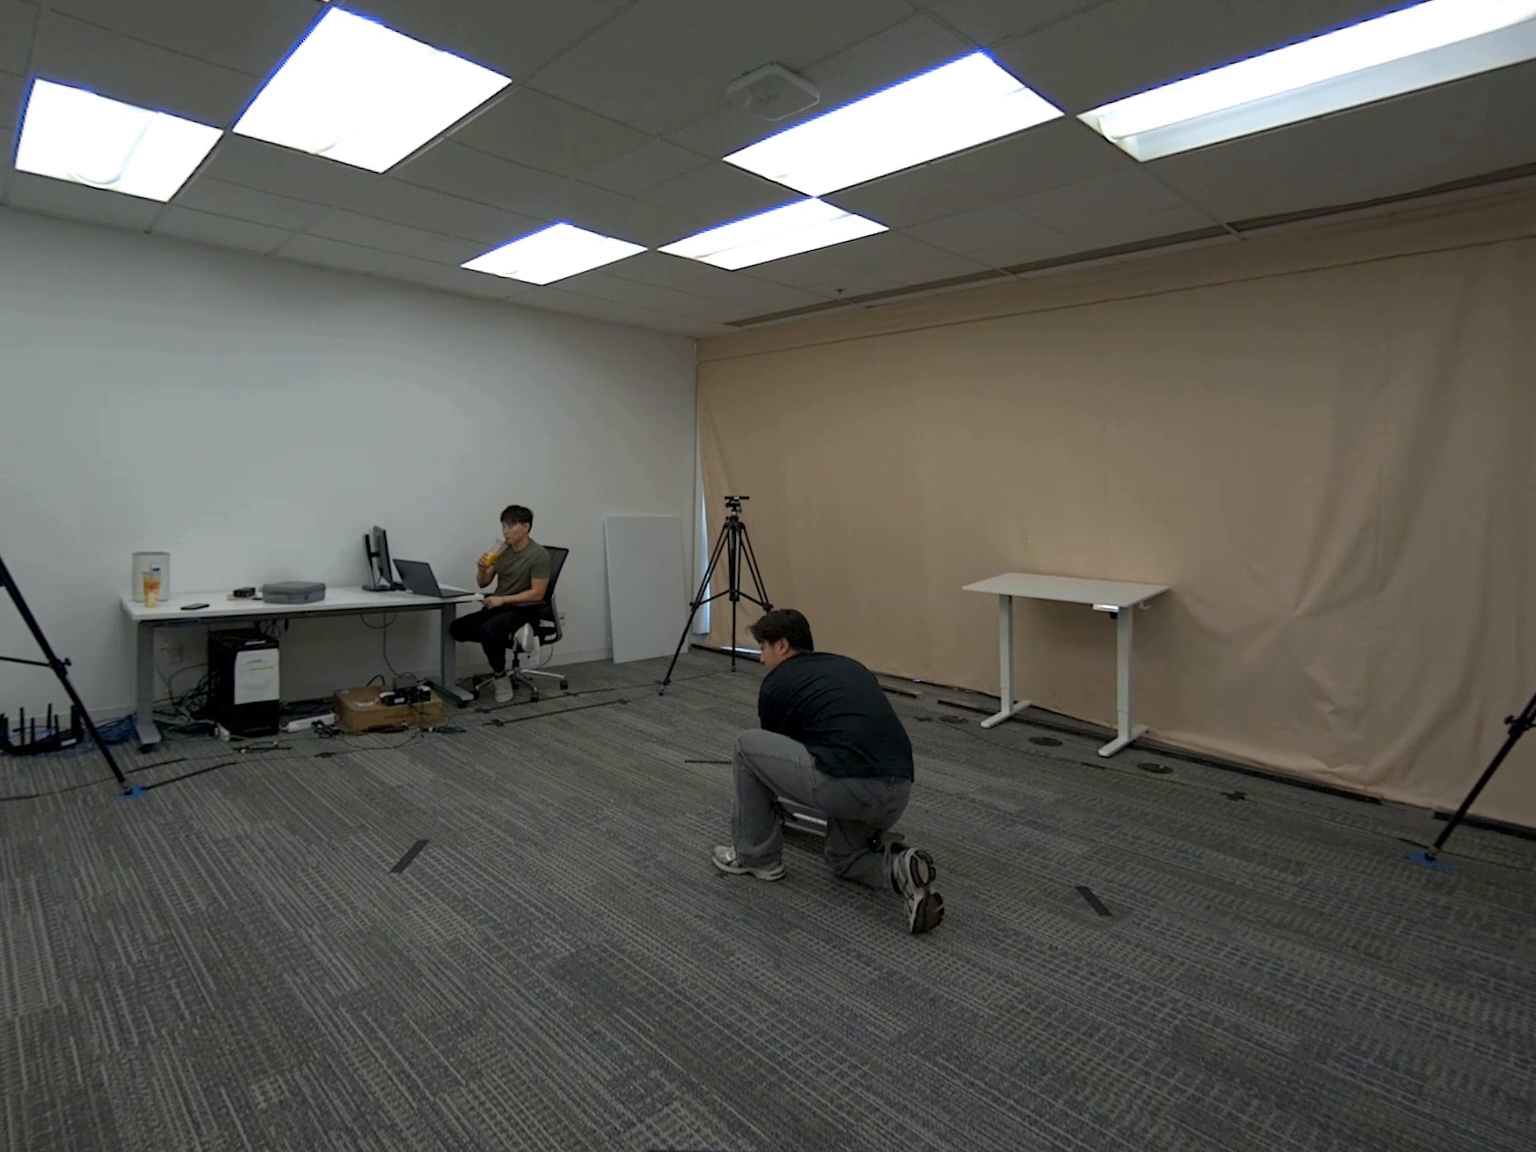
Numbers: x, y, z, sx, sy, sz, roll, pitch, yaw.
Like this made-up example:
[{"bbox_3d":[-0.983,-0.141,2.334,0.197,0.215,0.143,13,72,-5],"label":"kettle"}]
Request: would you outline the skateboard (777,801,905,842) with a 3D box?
[{"bbox_3d":[0.176,1.027,3.428,0.805,0.110,0.189,5,6,36],"label":"skateboard"}]
